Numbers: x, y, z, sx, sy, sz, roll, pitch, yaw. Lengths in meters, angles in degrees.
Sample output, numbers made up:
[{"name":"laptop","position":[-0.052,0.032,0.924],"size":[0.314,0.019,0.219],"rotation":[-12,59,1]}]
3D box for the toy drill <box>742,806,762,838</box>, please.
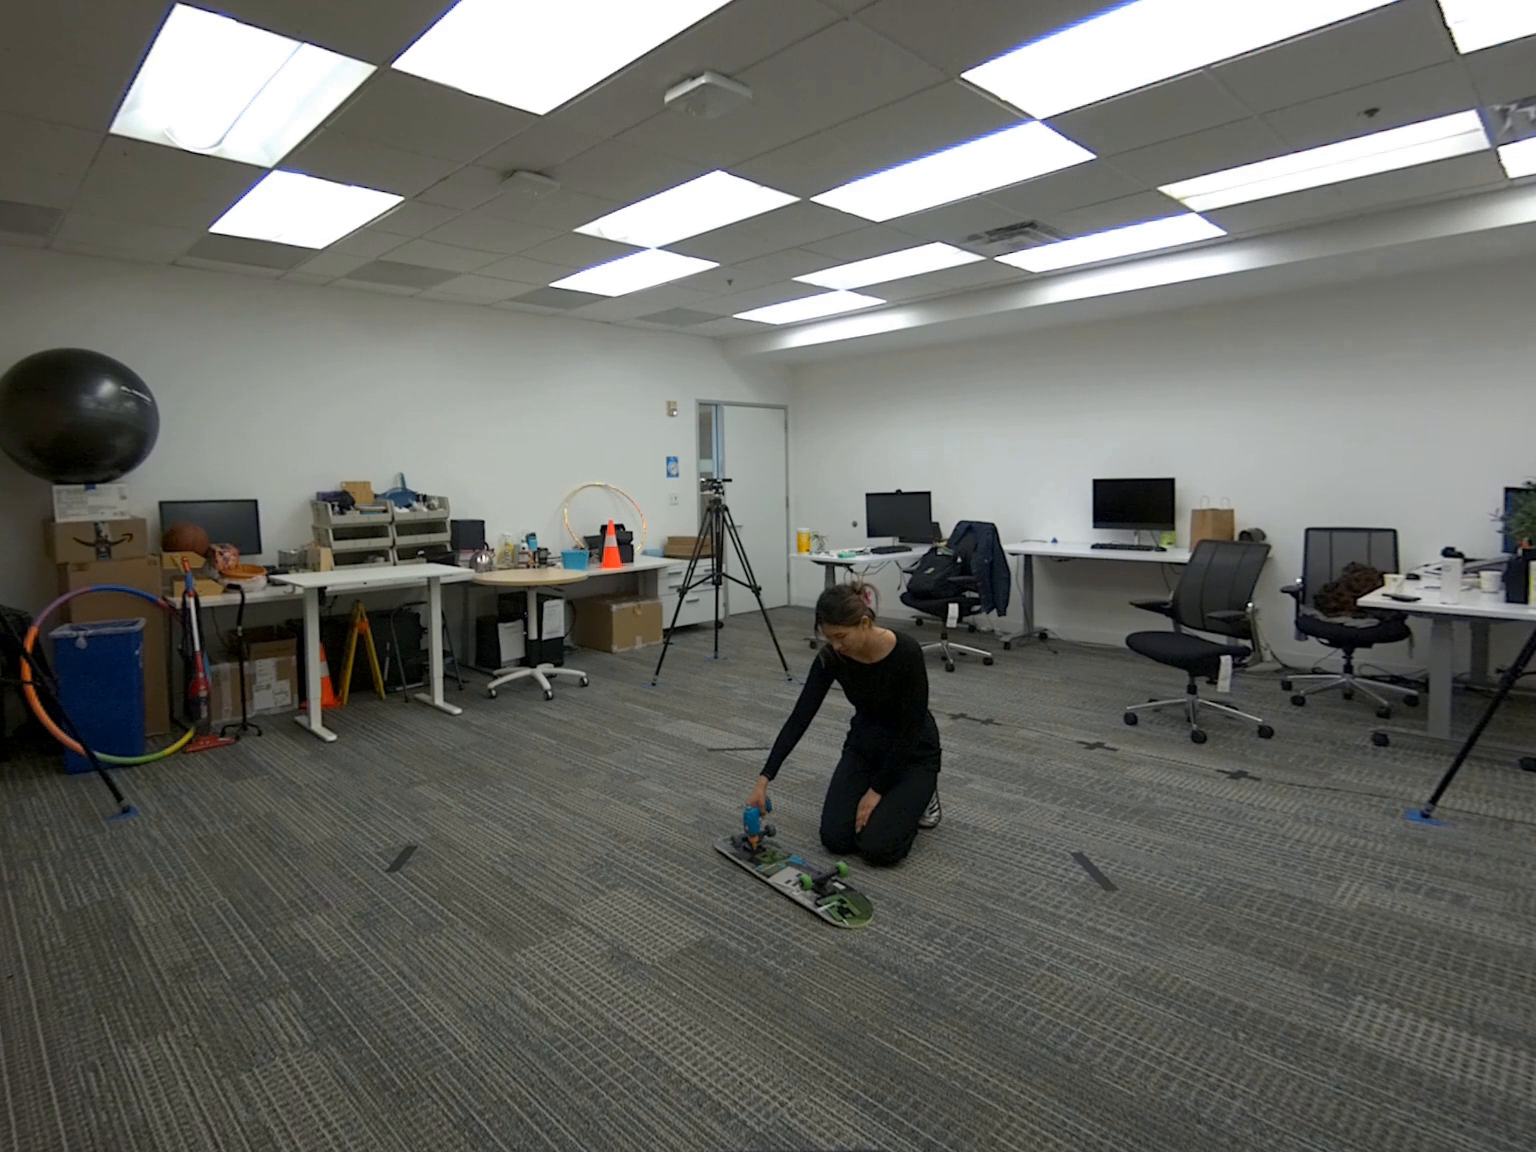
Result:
[{"name":"toy drill","position":[-0.032,0.905,3.130],"size":[0.062,0.168,0.144],"rotation":[-2,12,27]}]
